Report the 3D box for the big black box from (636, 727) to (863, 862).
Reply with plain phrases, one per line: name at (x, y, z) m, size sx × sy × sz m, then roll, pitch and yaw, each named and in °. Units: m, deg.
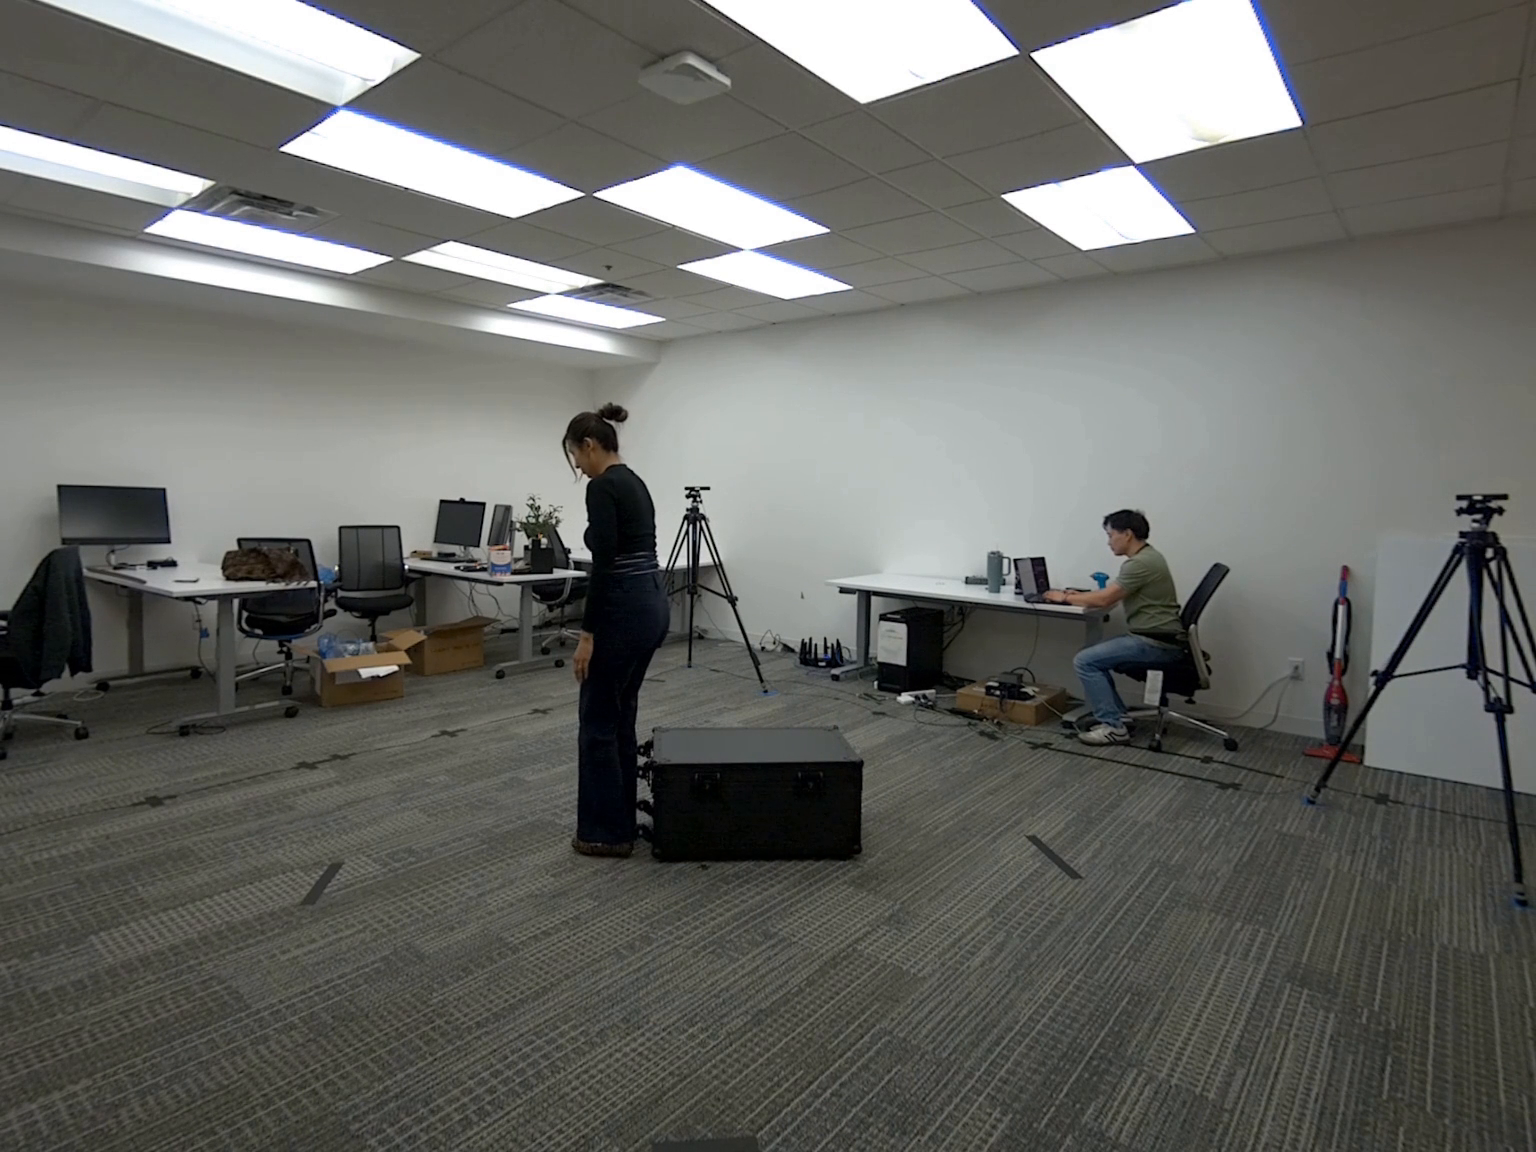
big black box at (-0.105, 0.843, 3.392) m, size 0.857 × 0.395 × 0.526 m, roll 0°, pitch 5°, yaw -5°
